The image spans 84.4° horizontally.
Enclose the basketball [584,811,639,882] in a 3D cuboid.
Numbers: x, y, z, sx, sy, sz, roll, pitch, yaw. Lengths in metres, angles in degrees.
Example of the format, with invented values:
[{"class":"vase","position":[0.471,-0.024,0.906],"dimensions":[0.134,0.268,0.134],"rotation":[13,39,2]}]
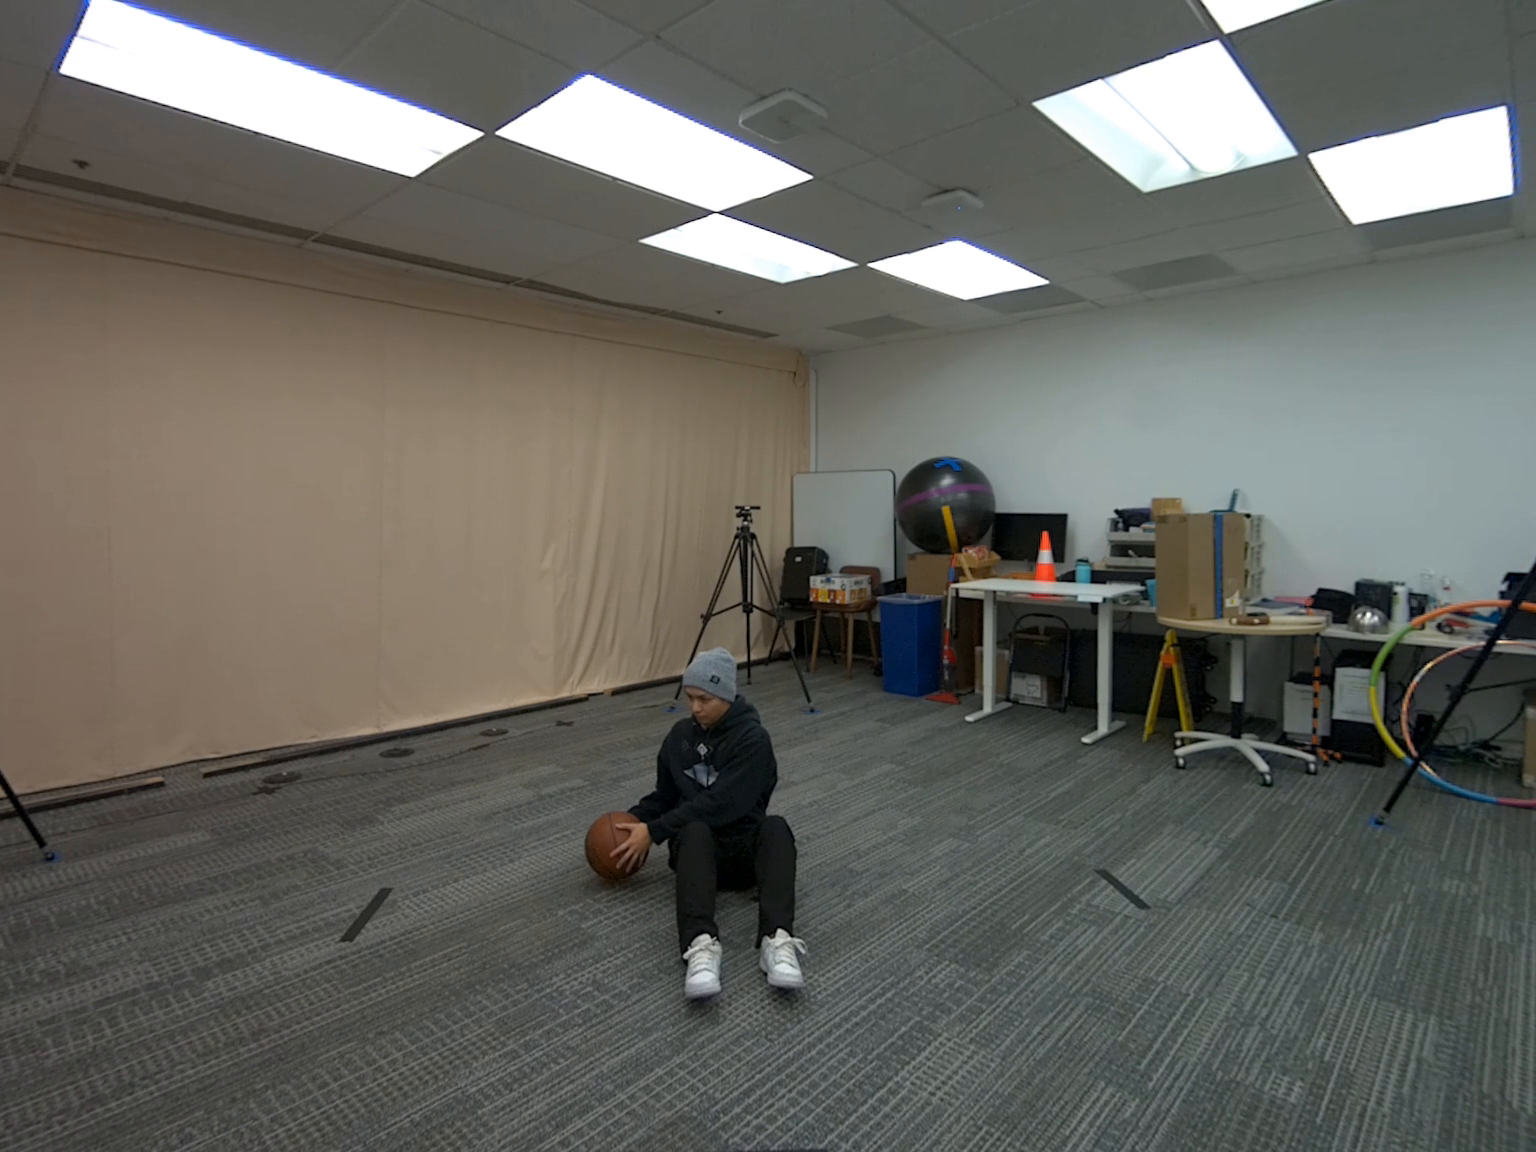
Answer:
[{"class":"basketball","position":[-0.551,0.986,3.094],"dimensions":[0.236,0.235,0.237],"rotation":[0,4,-2]}]
